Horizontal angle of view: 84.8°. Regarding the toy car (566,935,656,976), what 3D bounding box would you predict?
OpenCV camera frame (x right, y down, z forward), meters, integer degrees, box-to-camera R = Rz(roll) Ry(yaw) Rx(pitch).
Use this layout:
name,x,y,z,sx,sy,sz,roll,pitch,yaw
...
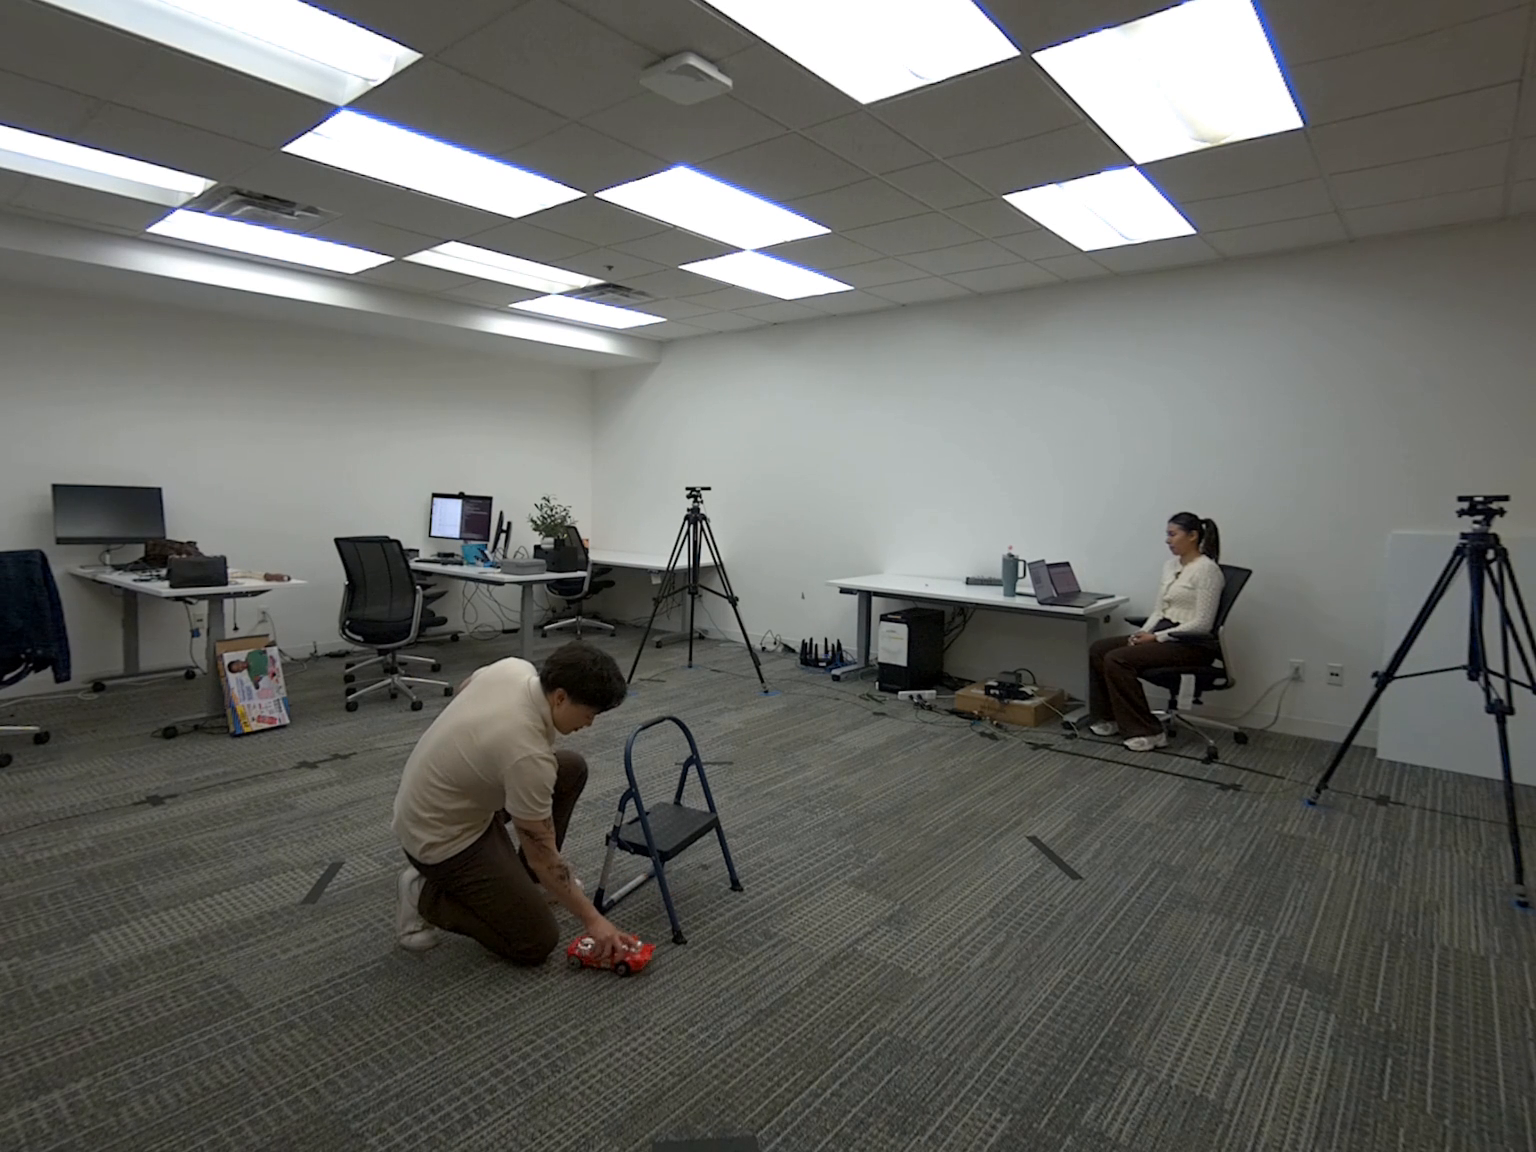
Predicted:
name,x,y,z,sx,sy,sz,roll,pitch,yaw
toy car,-0.460,1.102,2.469,0.258,0.083,0.129,-8,7,14
